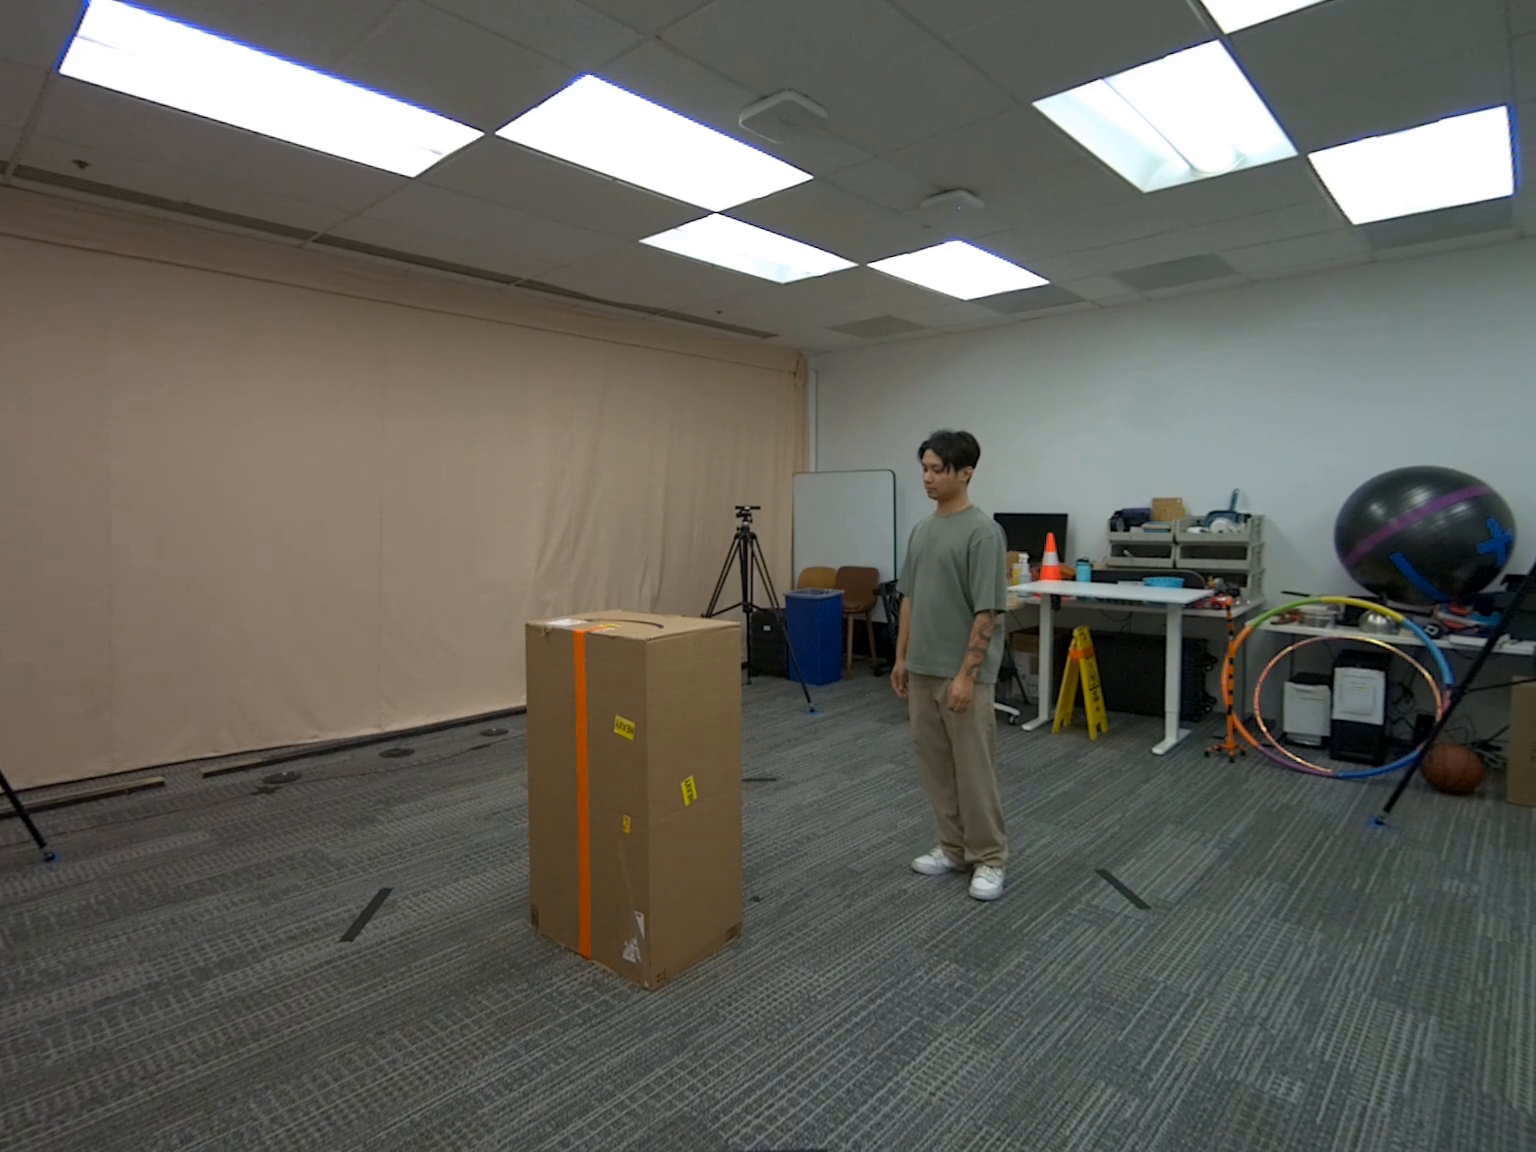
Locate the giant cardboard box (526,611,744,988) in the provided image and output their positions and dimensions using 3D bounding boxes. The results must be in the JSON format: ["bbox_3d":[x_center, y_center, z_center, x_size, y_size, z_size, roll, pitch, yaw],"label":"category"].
[{"bbox_3d":[-0.437,0.660,2.728,0.596,1.024,0.413,2,4,39],"label":"giant cardboard box"}]
